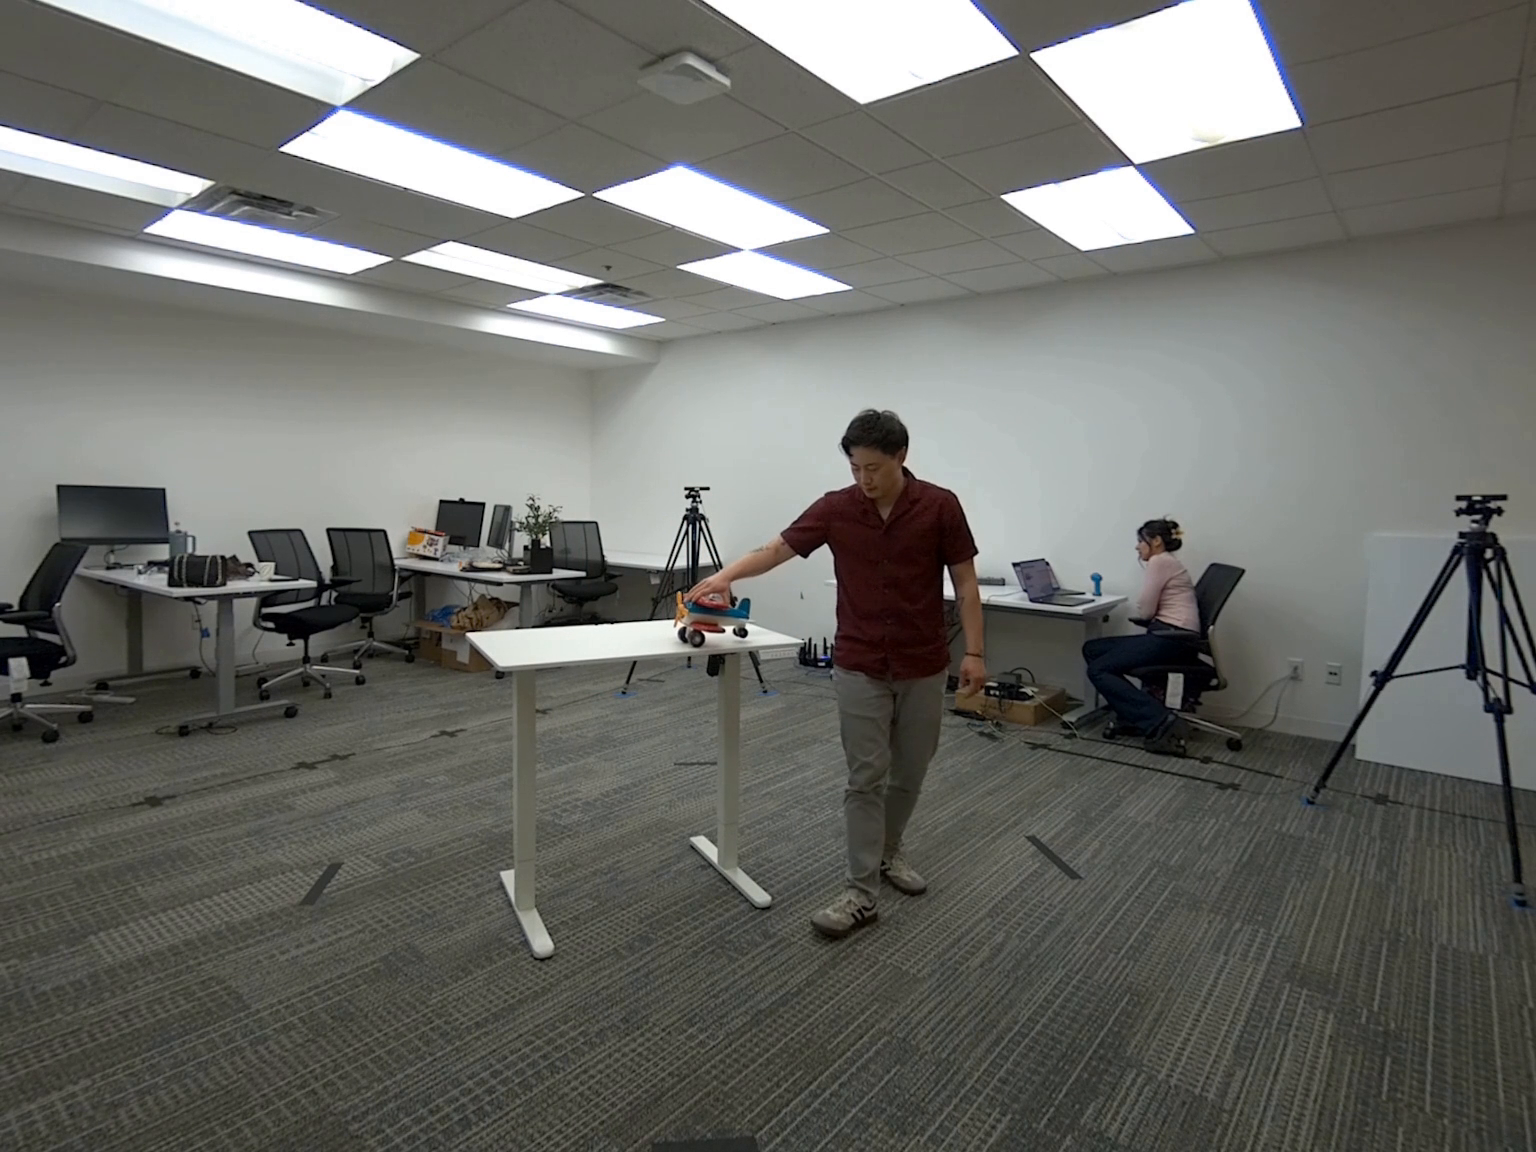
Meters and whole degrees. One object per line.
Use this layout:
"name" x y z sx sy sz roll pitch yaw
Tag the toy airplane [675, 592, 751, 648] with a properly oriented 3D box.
"toy airplane" -0.188 0.133 2.796 0.259 0.155 0.253 1 9 36
